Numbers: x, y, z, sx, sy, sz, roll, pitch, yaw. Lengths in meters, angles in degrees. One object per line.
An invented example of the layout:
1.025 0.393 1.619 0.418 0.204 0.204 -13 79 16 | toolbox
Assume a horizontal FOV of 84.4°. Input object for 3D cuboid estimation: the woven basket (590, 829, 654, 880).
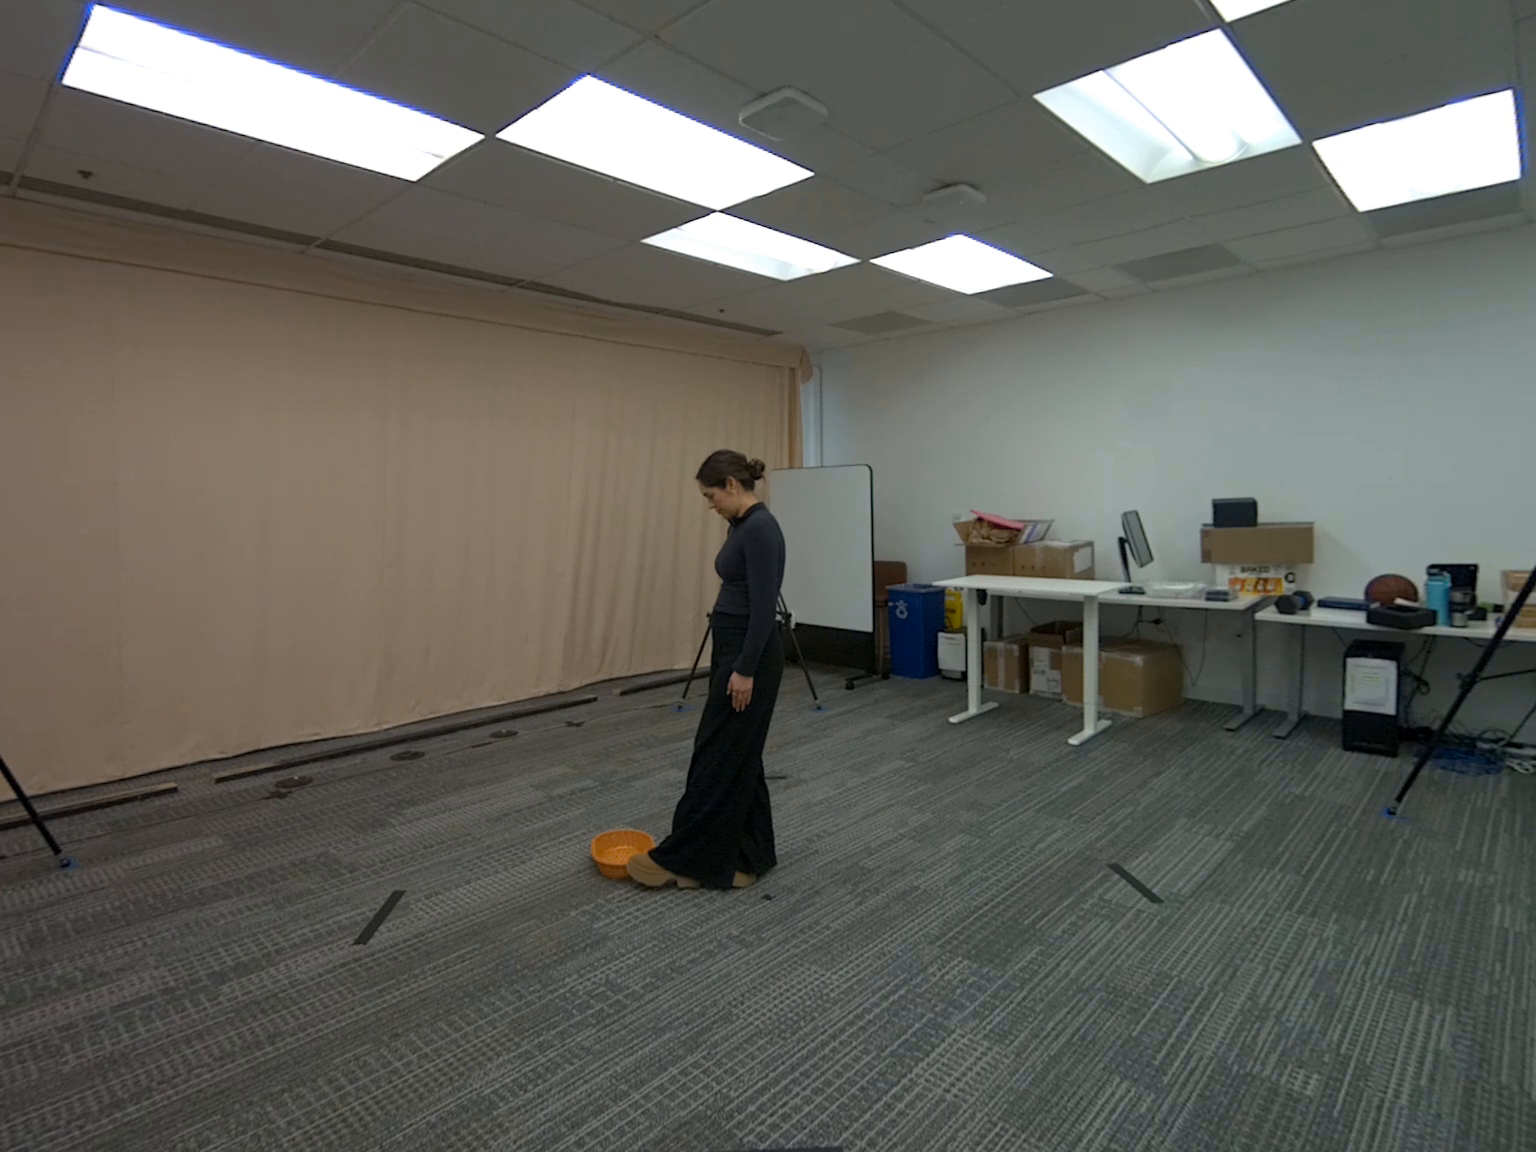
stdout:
-0.572 1.088 3.296 0.250 0.073 0.355 -1 5 -11 | woven basket
